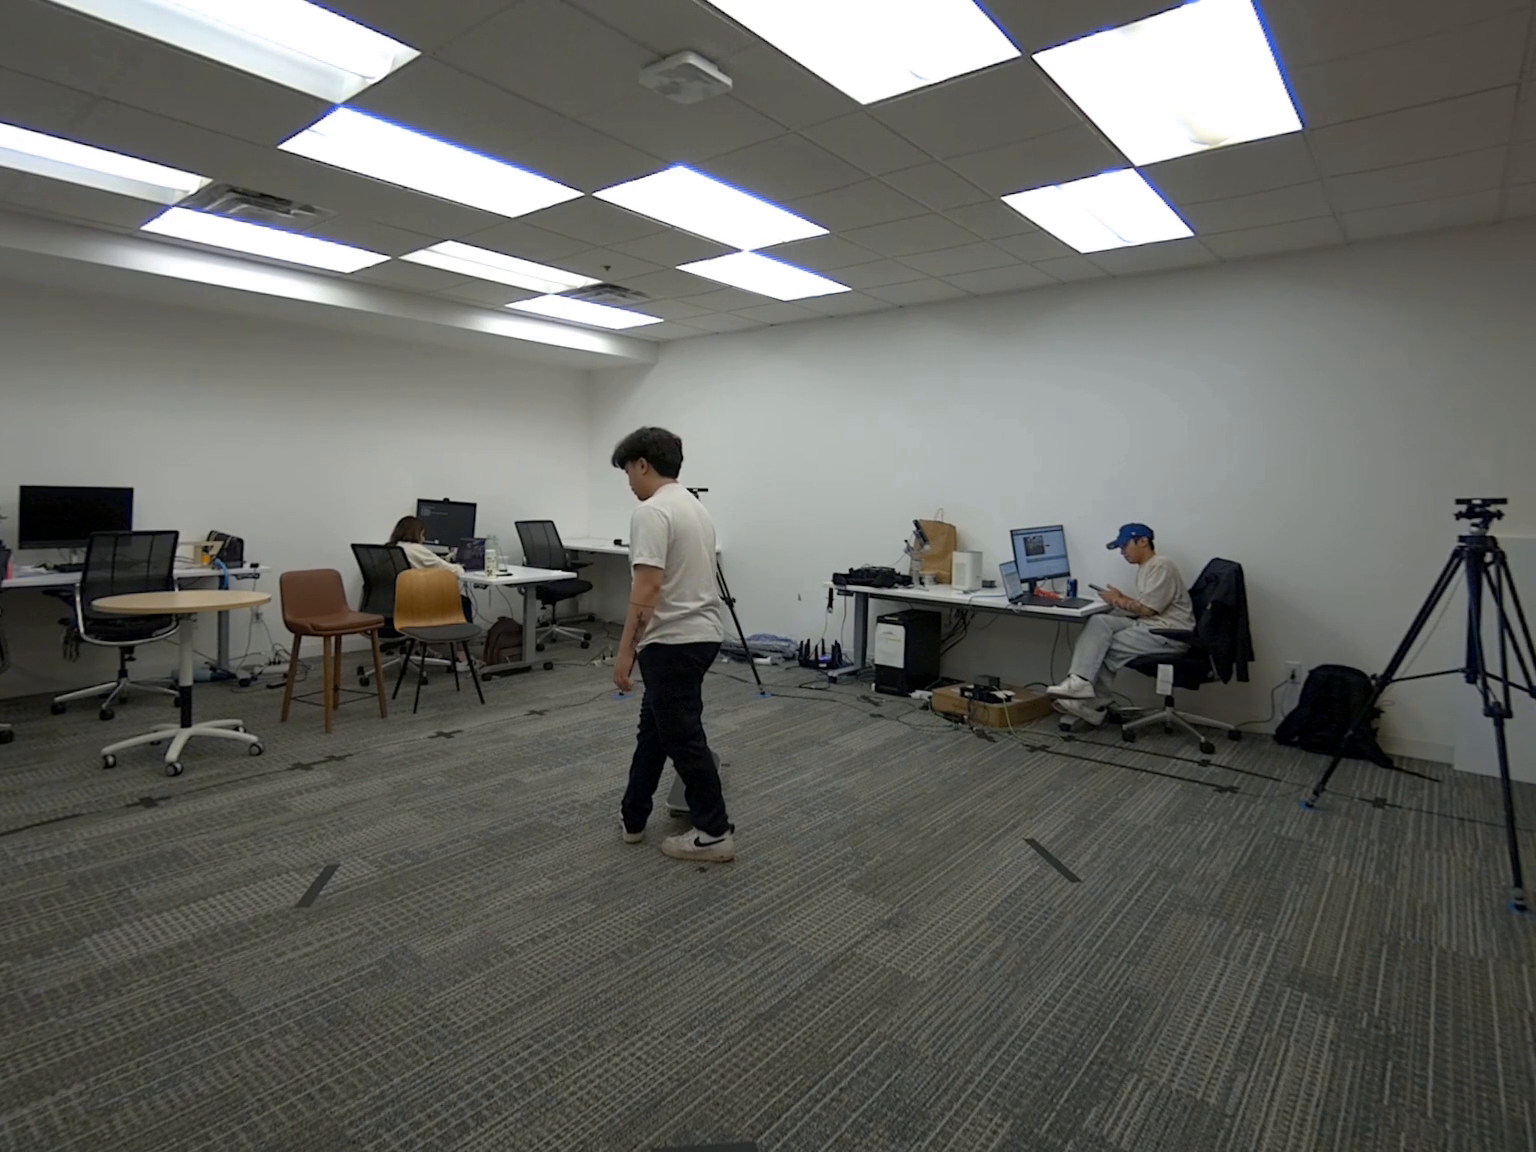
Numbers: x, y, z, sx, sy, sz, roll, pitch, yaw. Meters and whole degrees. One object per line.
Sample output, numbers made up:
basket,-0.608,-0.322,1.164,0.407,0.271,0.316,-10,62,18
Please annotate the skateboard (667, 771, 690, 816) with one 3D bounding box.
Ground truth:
skateboard,-0.336,0.941,3.809,0.194,0.110,0.786,0,6,1
